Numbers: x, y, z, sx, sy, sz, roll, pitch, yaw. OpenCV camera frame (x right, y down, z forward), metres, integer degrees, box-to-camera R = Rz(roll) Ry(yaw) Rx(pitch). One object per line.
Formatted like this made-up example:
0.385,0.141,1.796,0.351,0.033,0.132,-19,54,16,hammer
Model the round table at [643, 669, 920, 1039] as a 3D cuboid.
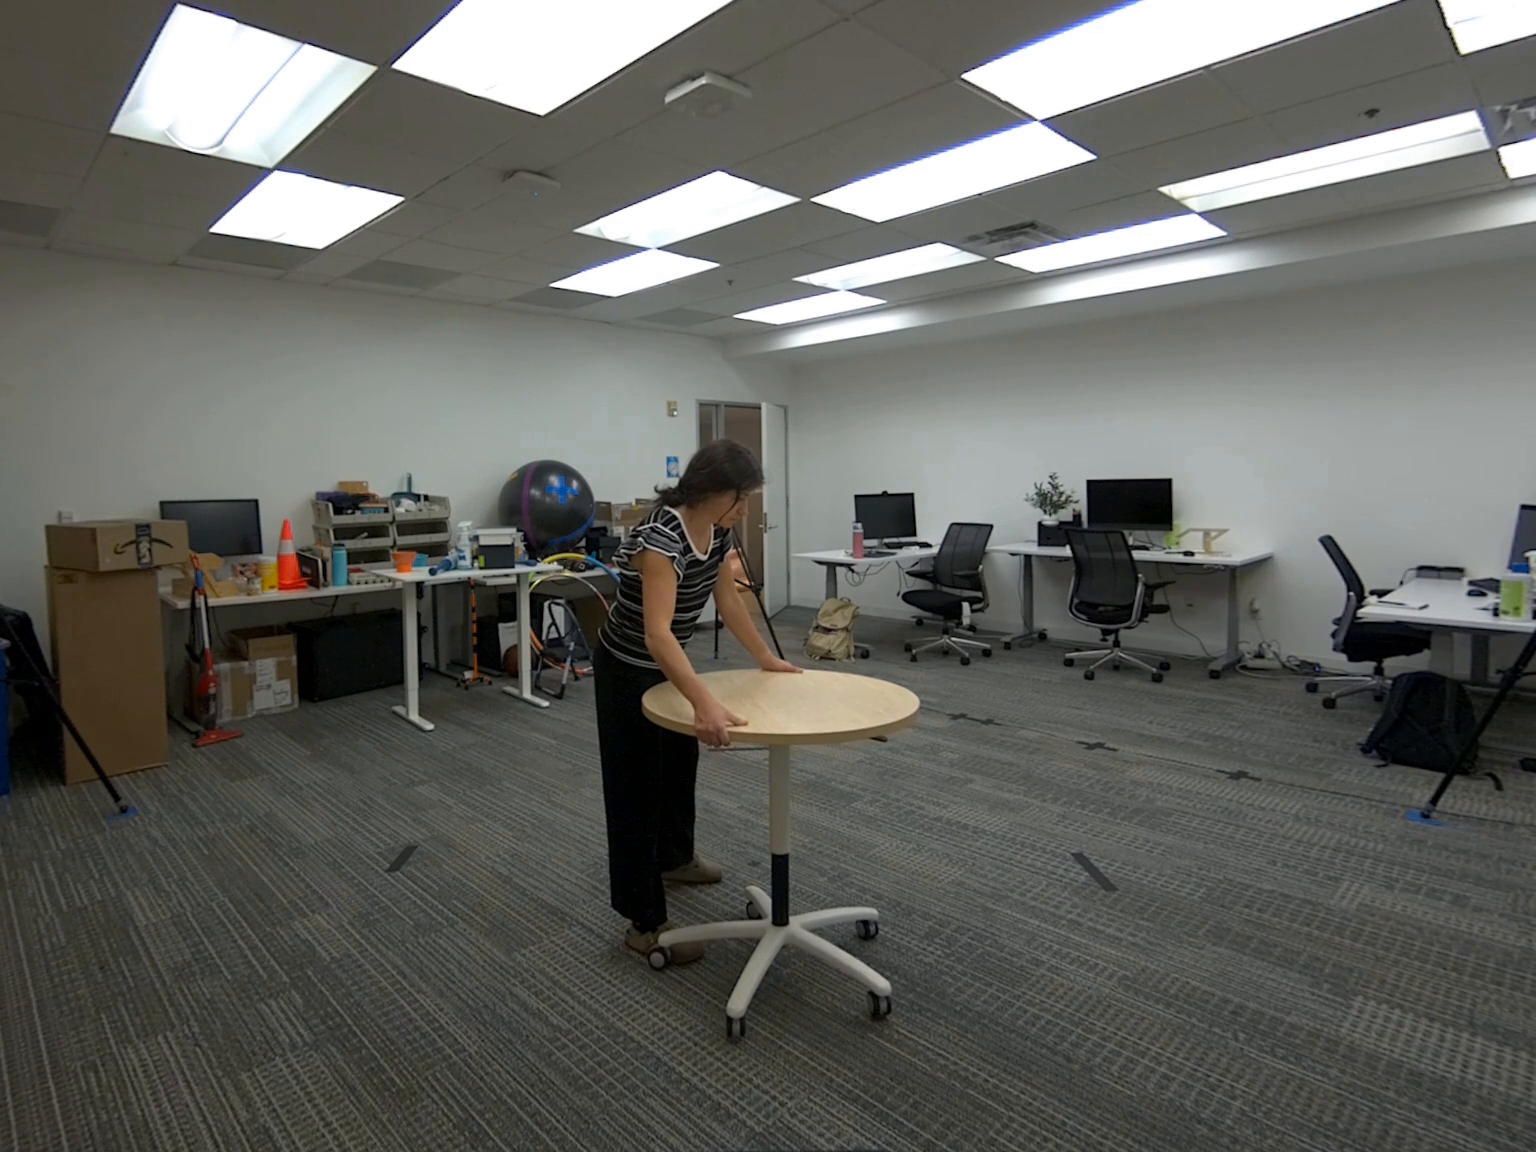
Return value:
0.047,0.732,2.395,0.763,0.792,0.767,-1,4,-2,round table
